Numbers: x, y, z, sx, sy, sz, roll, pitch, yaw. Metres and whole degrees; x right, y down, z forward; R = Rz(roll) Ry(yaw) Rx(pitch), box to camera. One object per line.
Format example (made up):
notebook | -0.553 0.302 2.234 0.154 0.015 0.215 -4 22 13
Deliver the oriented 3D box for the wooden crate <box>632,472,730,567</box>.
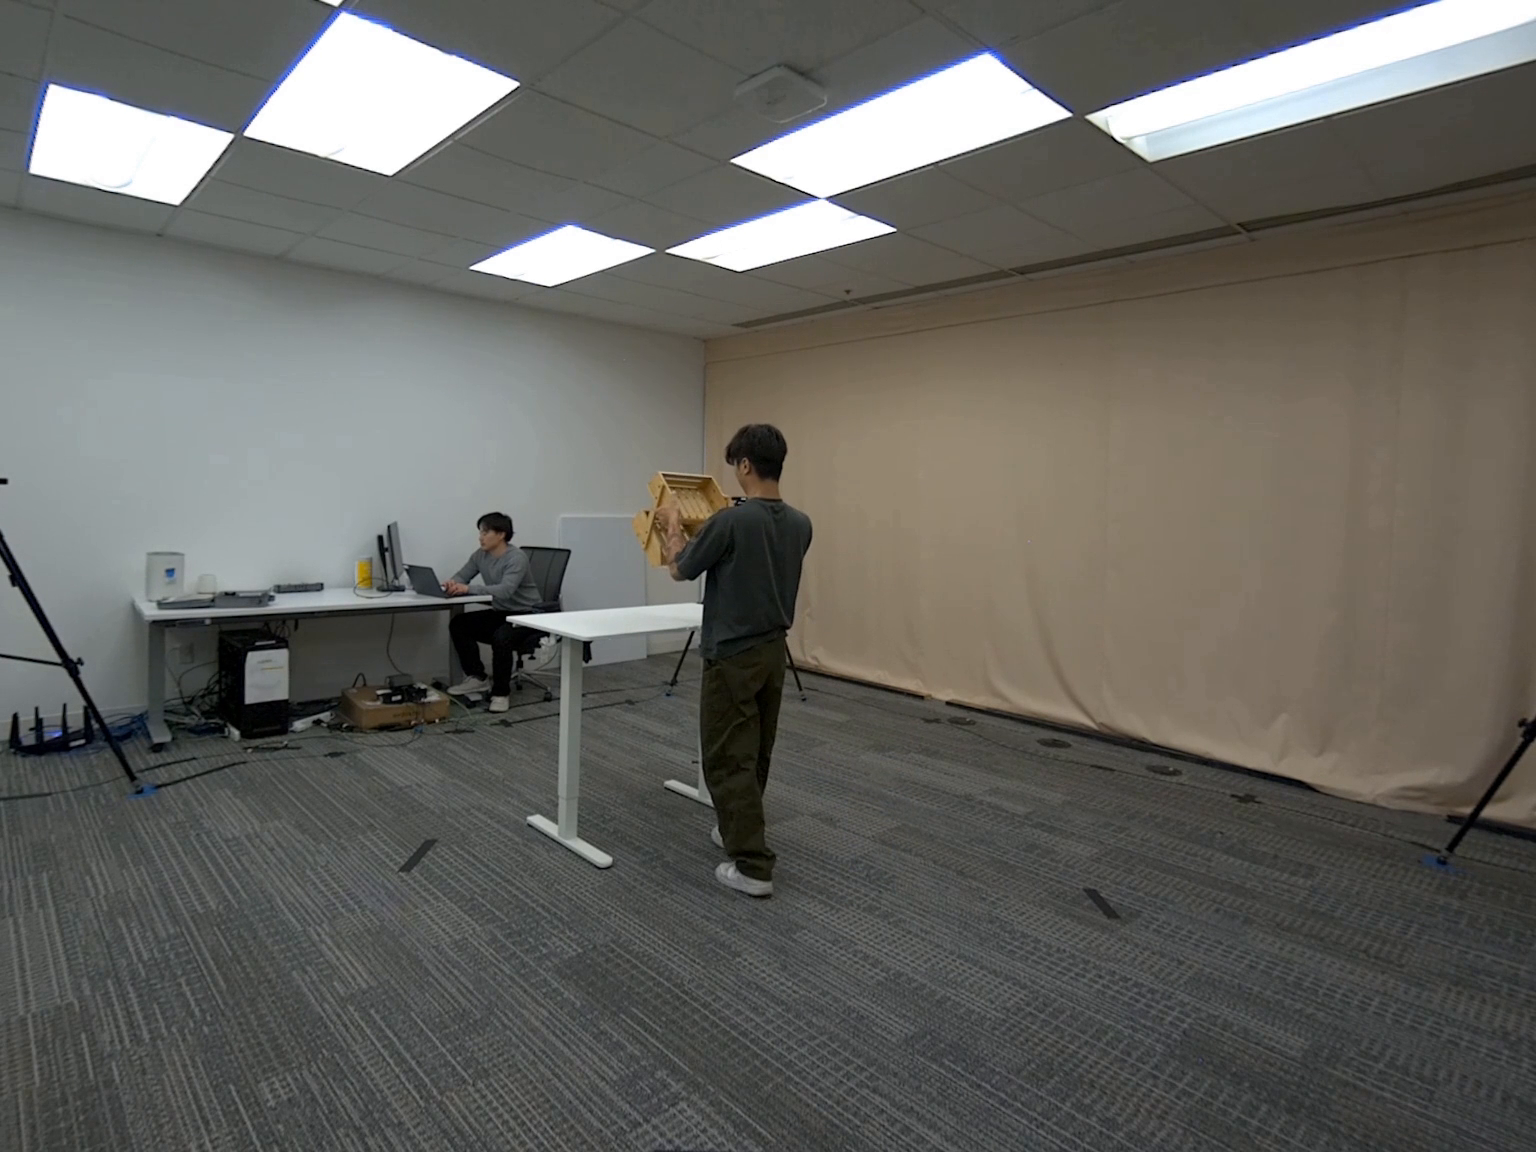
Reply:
wooden crate | -0.341 -0.218 3.400 0.317 0.309 0.273 -1 -37 -48
